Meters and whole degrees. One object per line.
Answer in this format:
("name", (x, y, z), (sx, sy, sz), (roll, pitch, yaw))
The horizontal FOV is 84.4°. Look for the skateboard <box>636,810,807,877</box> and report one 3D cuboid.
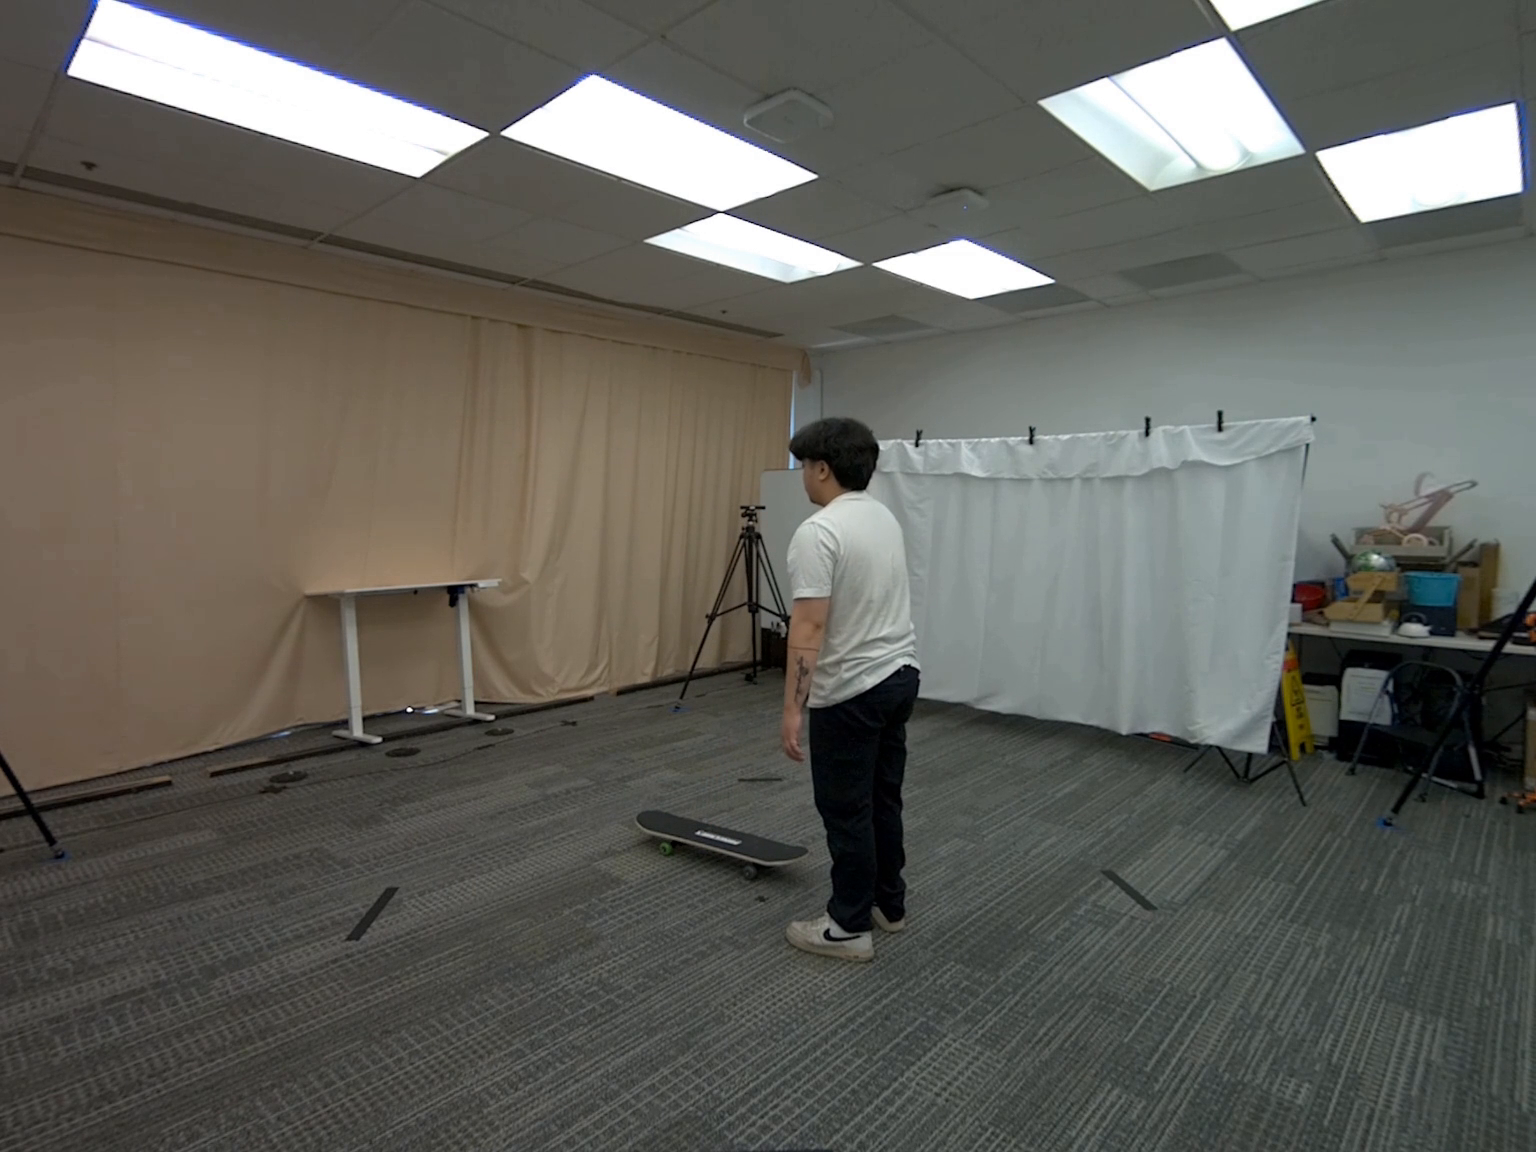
("skateboard", (-0.195, 1.059, 3.318), (0.809, 0.110, 0.188), (3, 6, 33))
